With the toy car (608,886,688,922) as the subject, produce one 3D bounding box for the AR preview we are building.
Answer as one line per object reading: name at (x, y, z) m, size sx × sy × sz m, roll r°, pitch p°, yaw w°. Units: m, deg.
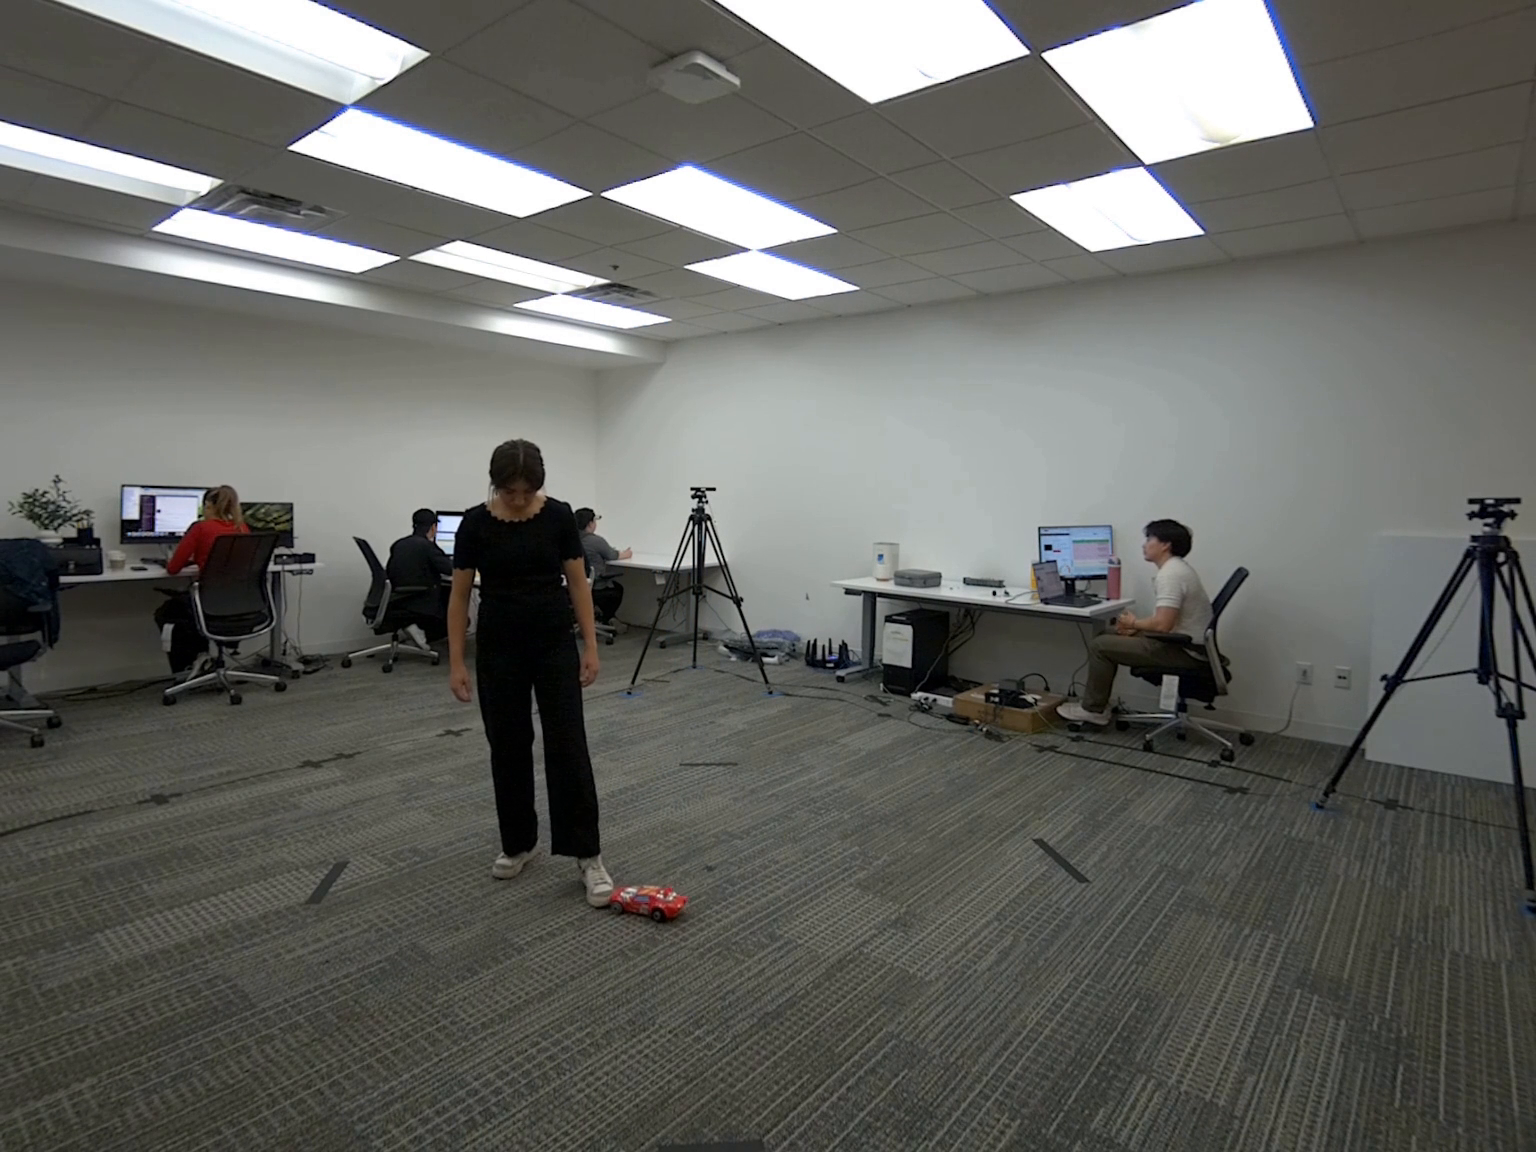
toy car at (-0.400, 1.062, 2.774) m, size 0.259 × 0.083 × 0.128 m, roll -9°, pitch 2°, yaw 19°
